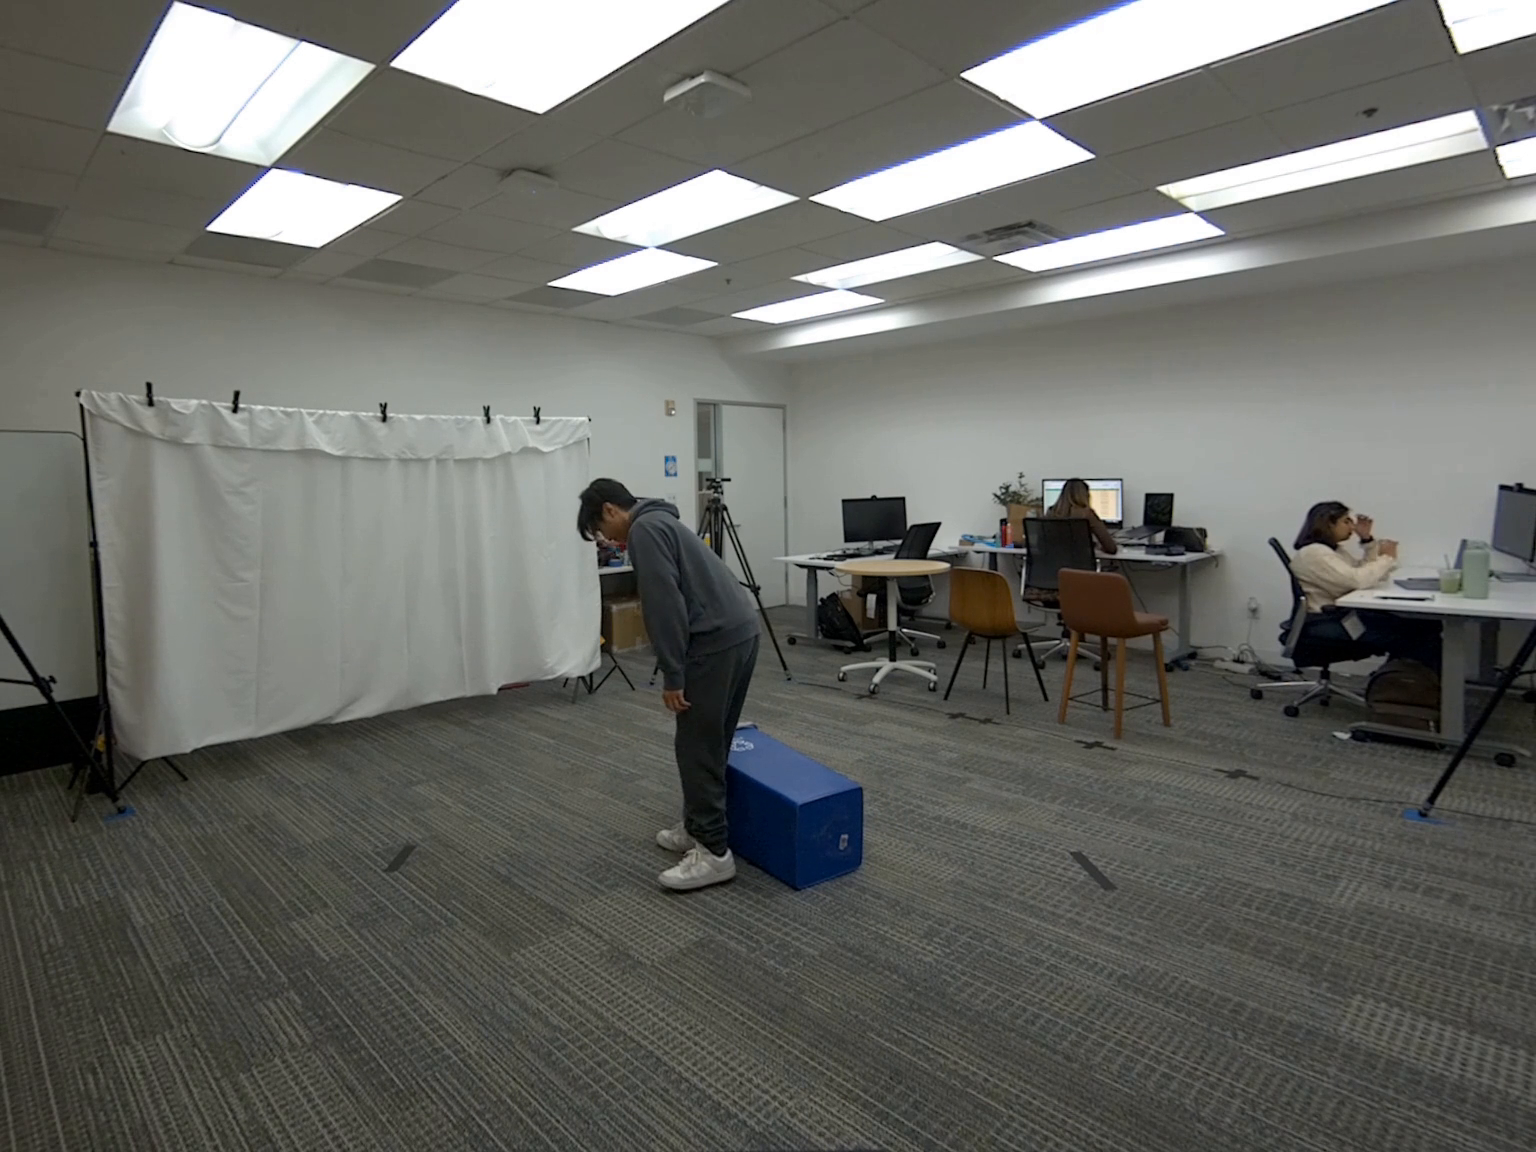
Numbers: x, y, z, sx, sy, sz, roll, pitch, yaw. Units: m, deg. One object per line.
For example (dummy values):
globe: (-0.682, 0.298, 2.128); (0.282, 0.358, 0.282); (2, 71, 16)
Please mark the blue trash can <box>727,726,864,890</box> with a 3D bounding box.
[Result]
blue trash can: (0.015, 0.857, 3.247); (0.365, 0.376, 0.736); (-4, 10, -35)
